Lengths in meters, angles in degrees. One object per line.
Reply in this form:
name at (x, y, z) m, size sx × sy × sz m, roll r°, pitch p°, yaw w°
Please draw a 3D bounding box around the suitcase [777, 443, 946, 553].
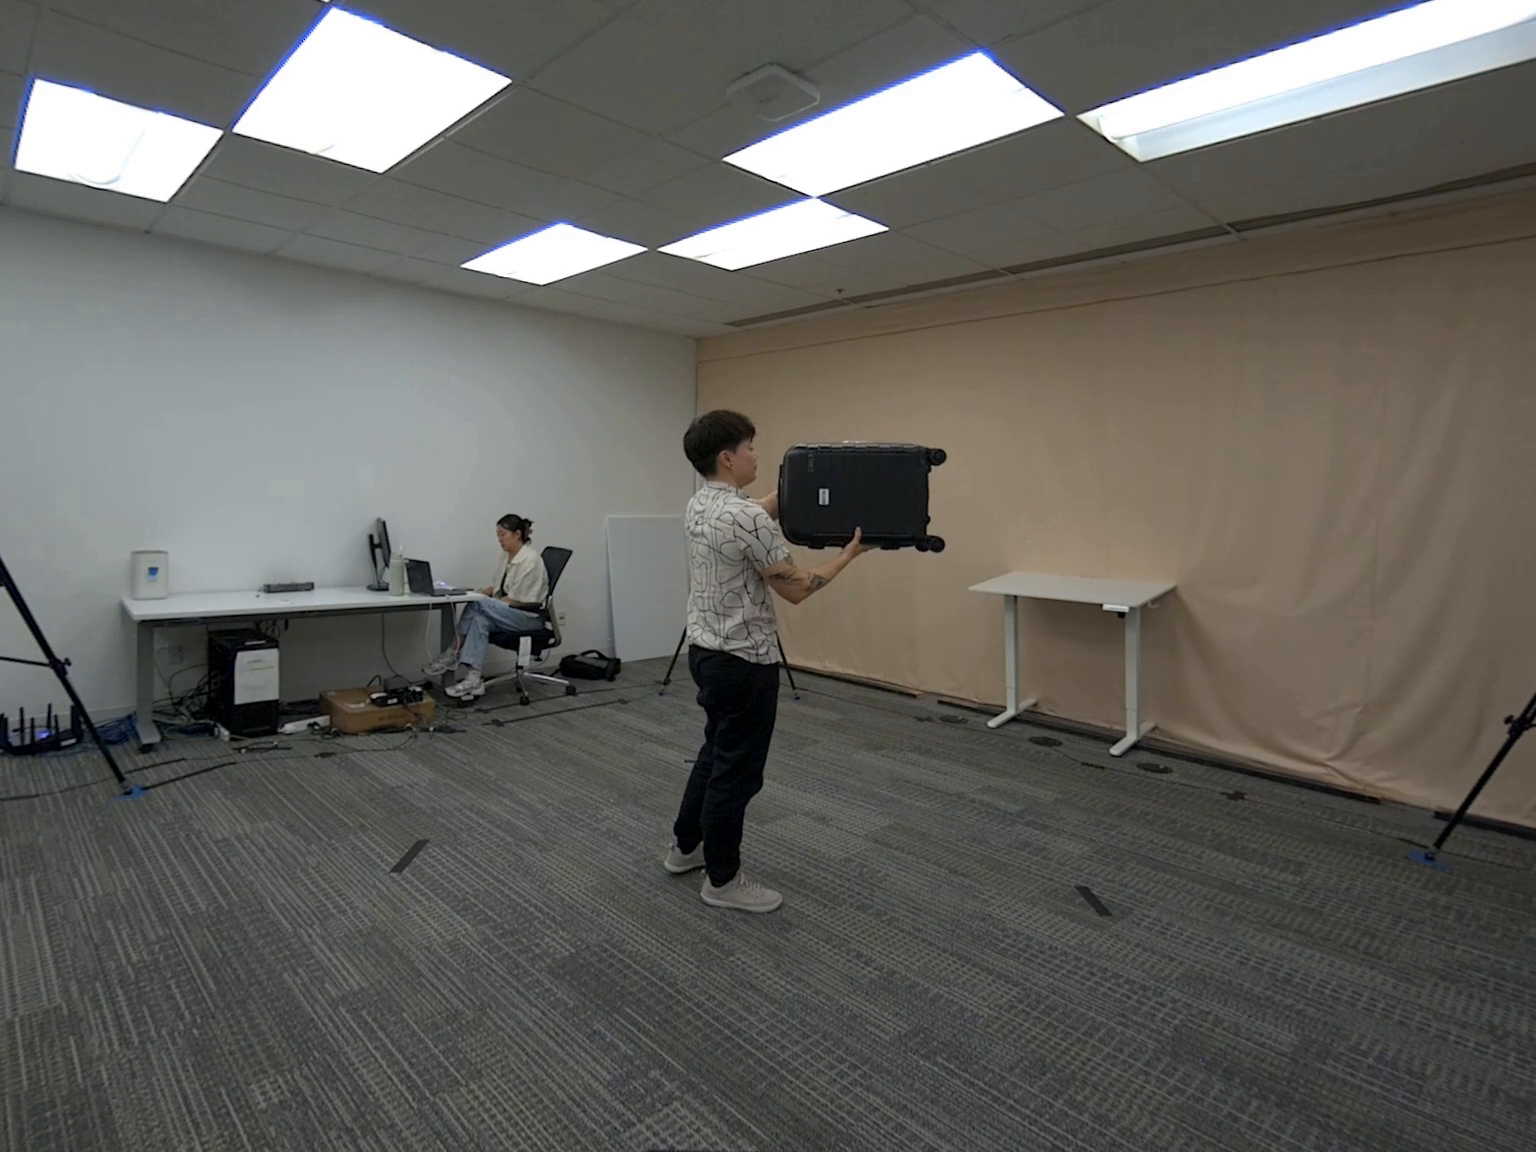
suitcase at (0.307, -0.284, 2.927) m, size 0.550 × 0.375 × 0.248 m, roll 2°, pitch 1°, yaw 2°
